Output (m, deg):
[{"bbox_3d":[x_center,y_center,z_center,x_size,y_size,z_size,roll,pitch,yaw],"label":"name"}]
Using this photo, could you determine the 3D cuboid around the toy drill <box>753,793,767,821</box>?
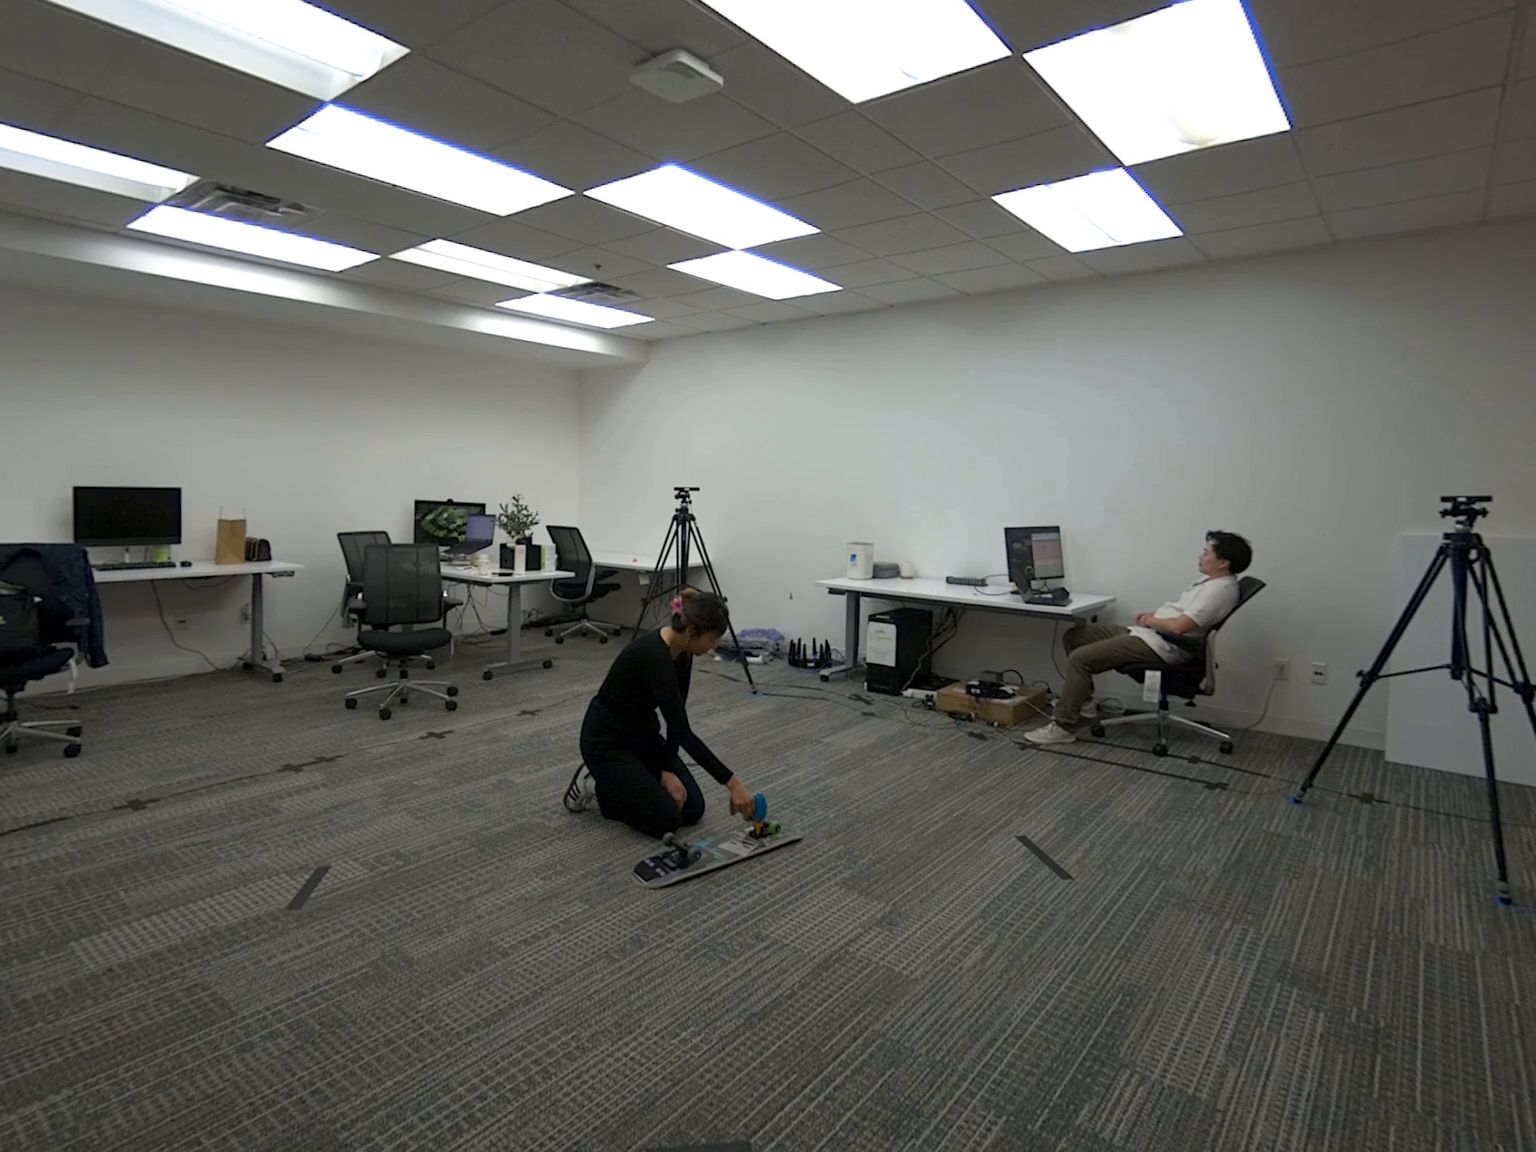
[{"bbox_3d":[-0.078,0.907,3.292,0.144,0.169,0.062,6,8,-9],"label":"toy drill"}]
